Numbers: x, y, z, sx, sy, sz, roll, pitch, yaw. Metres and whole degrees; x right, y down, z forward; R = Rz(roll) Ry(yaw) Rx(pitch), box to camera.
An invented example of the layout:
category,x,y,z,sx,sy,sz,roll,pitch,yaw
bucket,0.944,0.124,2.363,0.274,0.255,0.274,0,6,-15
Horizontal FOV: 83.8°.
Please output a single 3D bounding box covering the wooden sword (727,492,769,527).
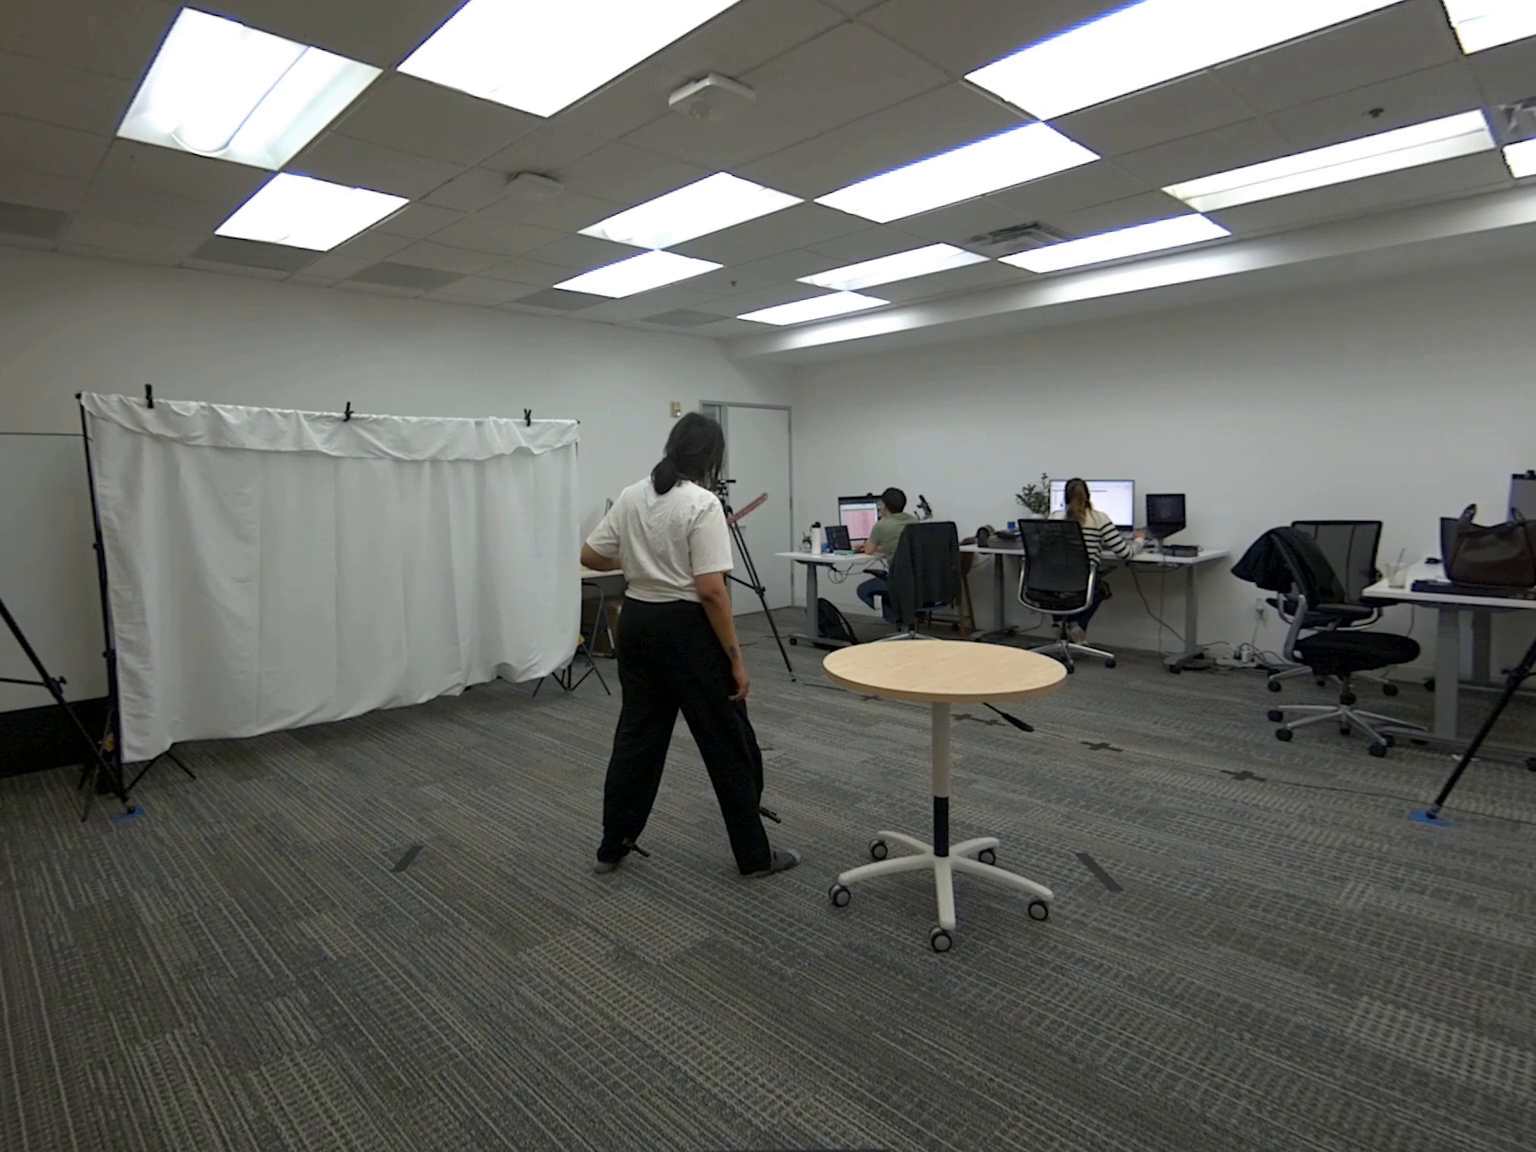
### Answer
category,x,y,z,sx,sy,sz,roll,pitch,yaw
wooden sword,-0.254,-0.199,3.699,0.053,0.023,1.016,19,31,24
